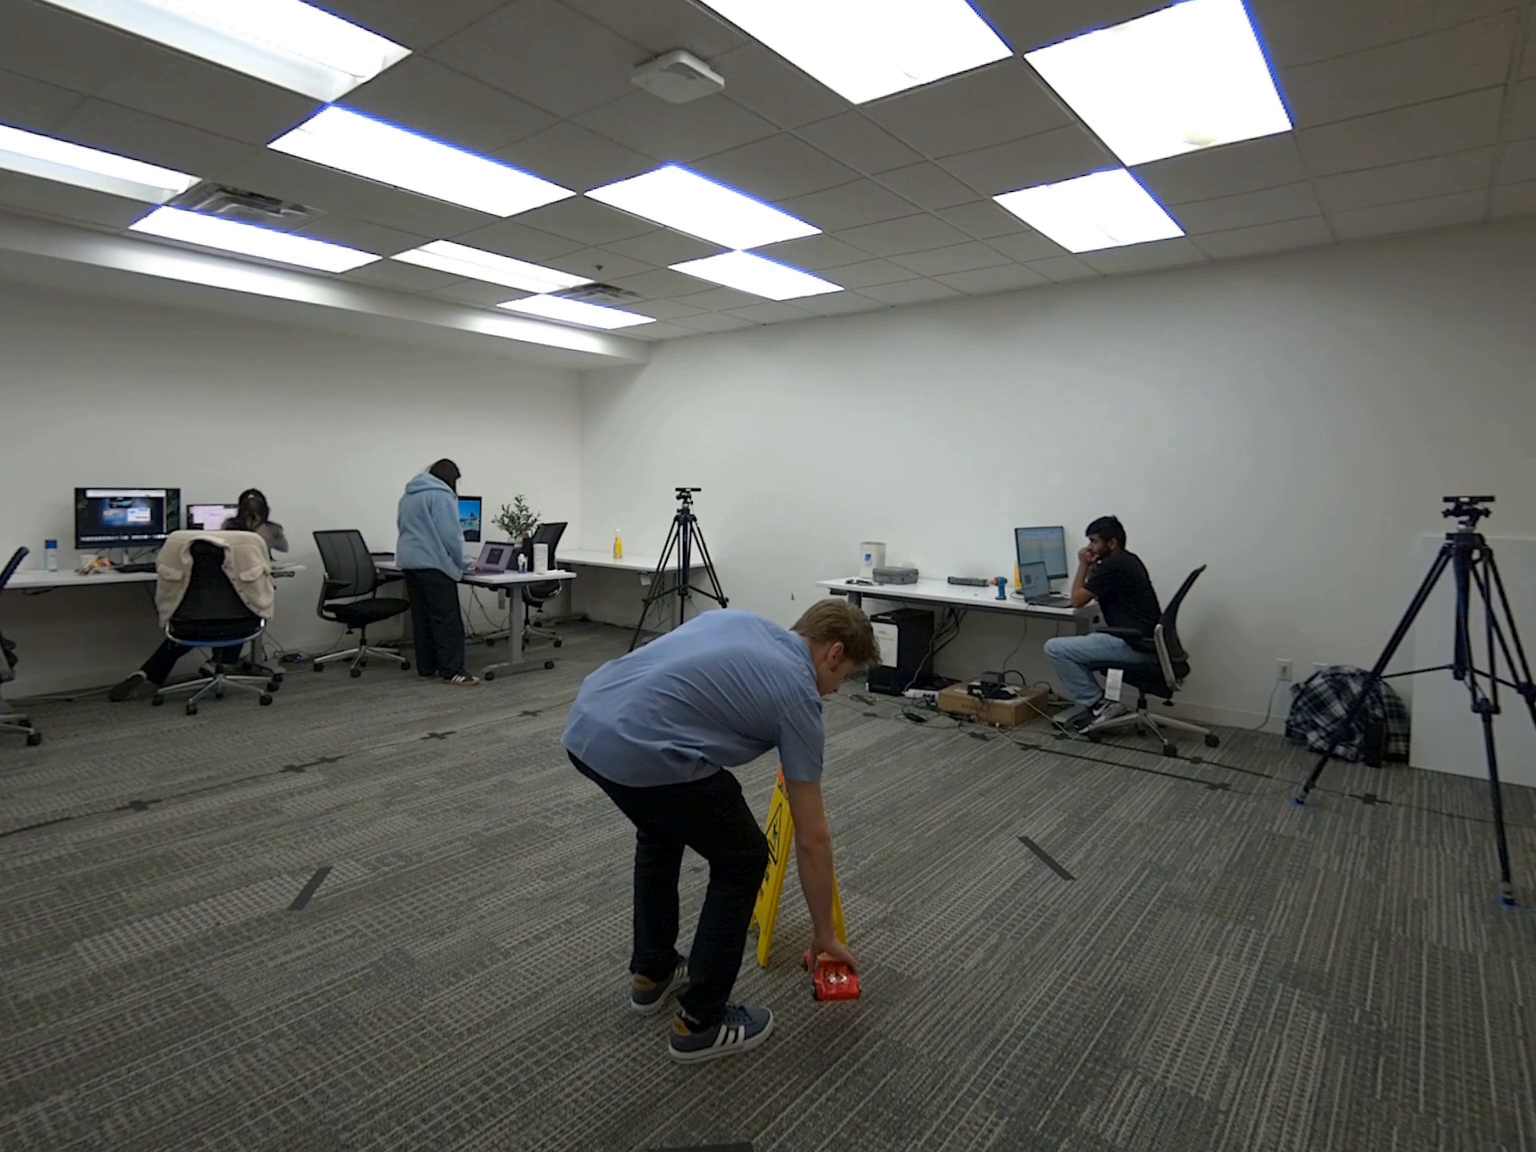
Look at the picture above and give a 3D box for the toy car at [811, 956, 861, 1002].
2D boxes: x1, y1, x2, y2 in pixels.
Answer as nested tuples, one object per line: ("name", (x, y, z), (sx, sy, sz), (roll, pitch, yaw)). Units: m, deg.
("toy car", (0.157, 1.034, 2.173), (0.129, 0.084, 0.255), (0, -7, -10))
